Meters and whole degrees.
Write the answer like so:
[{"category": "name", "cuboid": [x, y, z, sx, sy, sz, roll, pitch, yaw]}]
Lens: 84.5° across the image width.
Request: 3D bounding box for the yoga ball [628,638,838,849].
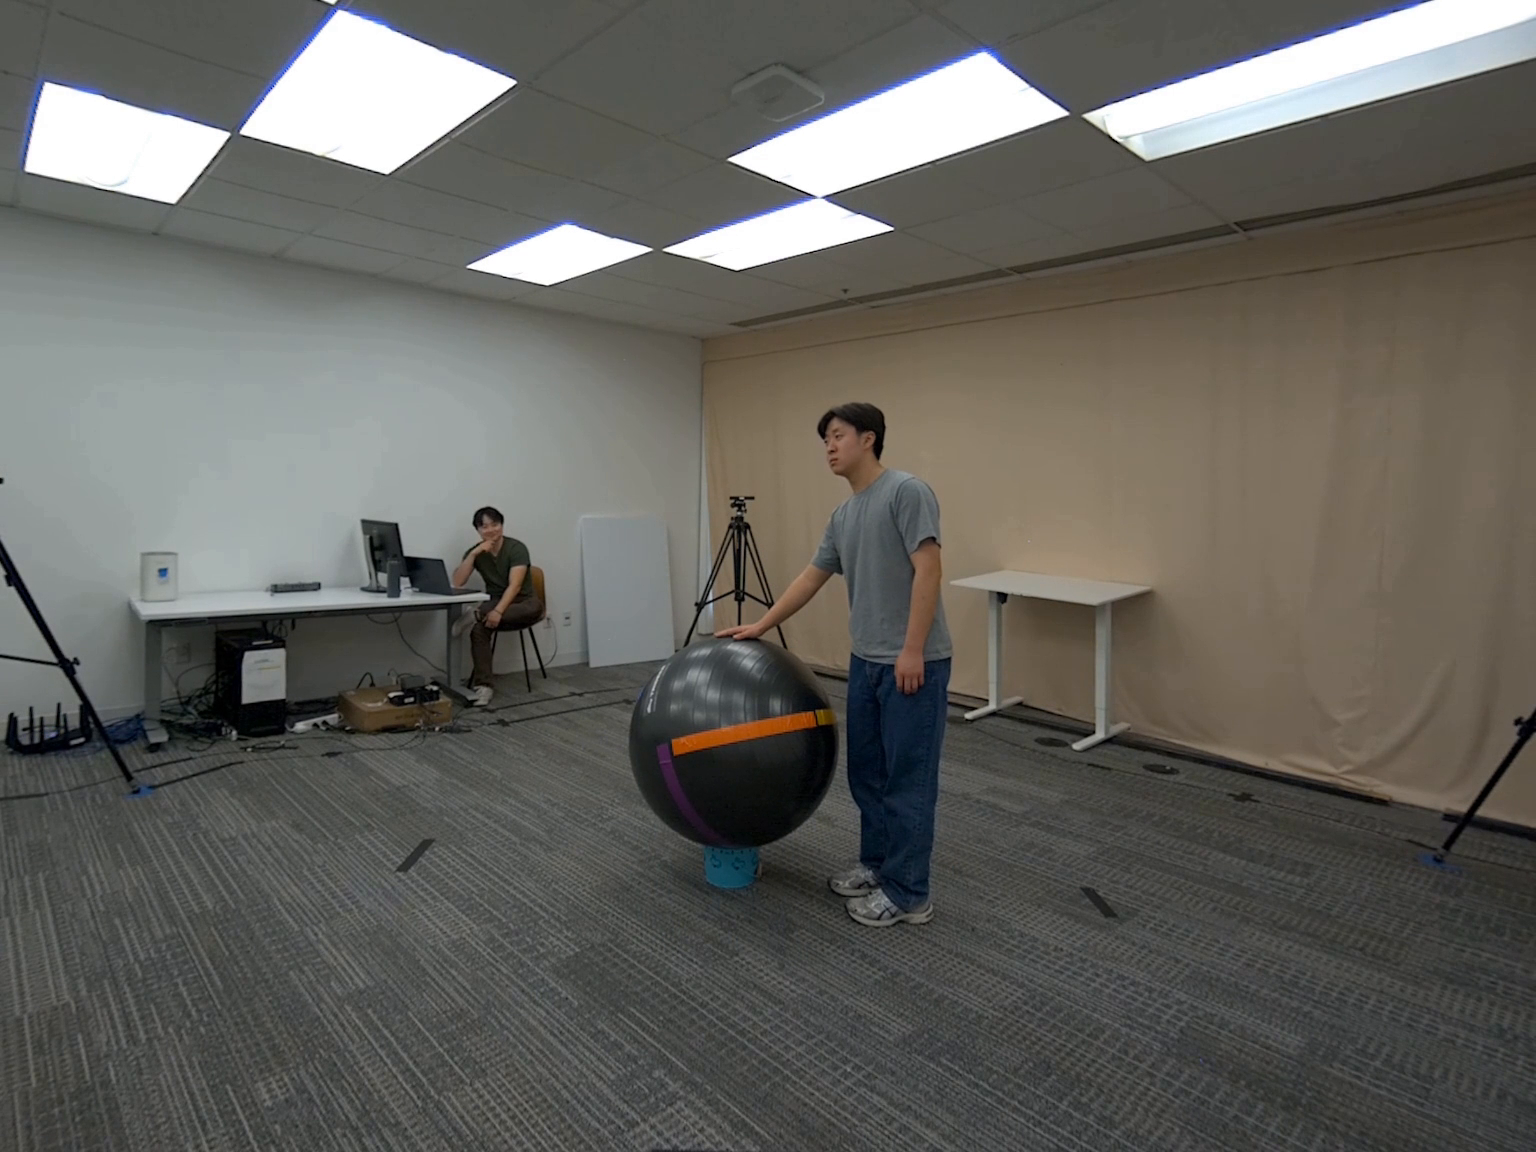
[{"category": "yoga ball", "cuboid": [-0.129, 0.593, 3.065, 0.757, 0.756, 0.761, 1, 4, -1]}]
